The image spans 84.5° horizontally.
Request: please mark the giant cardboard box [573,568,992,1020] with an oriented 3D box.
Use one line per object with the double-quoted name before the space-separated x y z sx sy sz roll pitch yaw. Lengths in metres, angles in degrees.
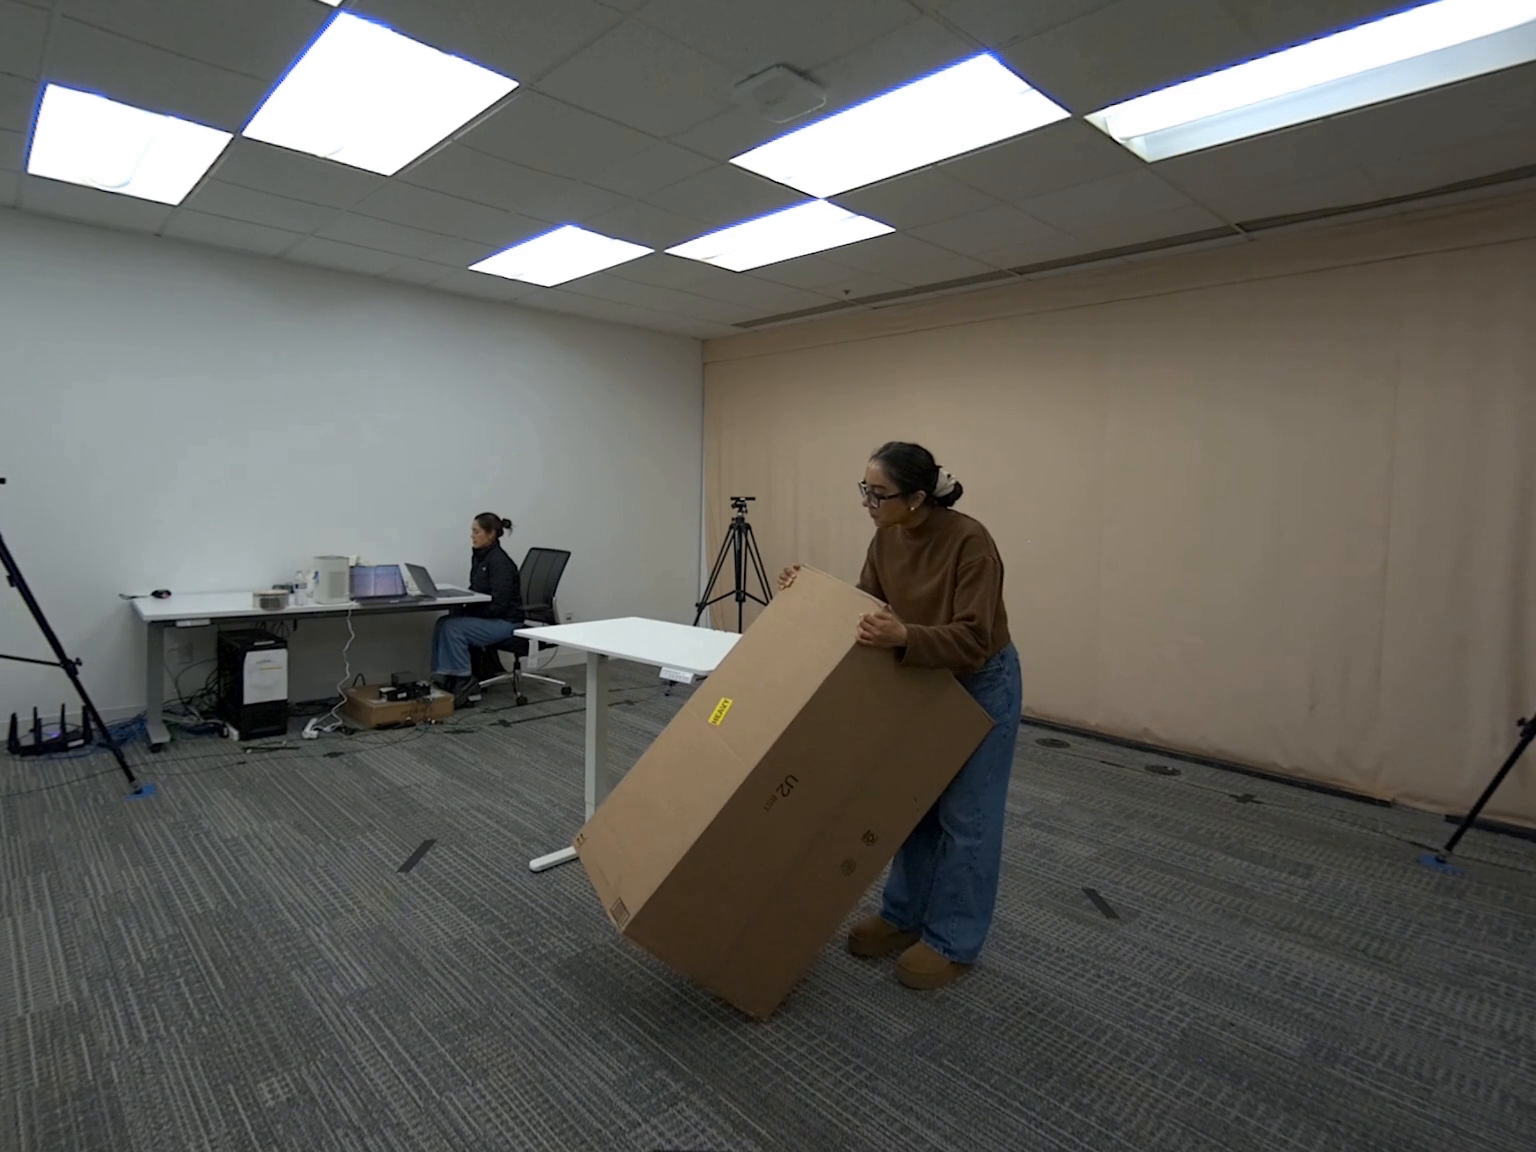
"giant cardboard box" 0.032 0.590 2.344 0.562 1.026 0.438 43 -8 -30
